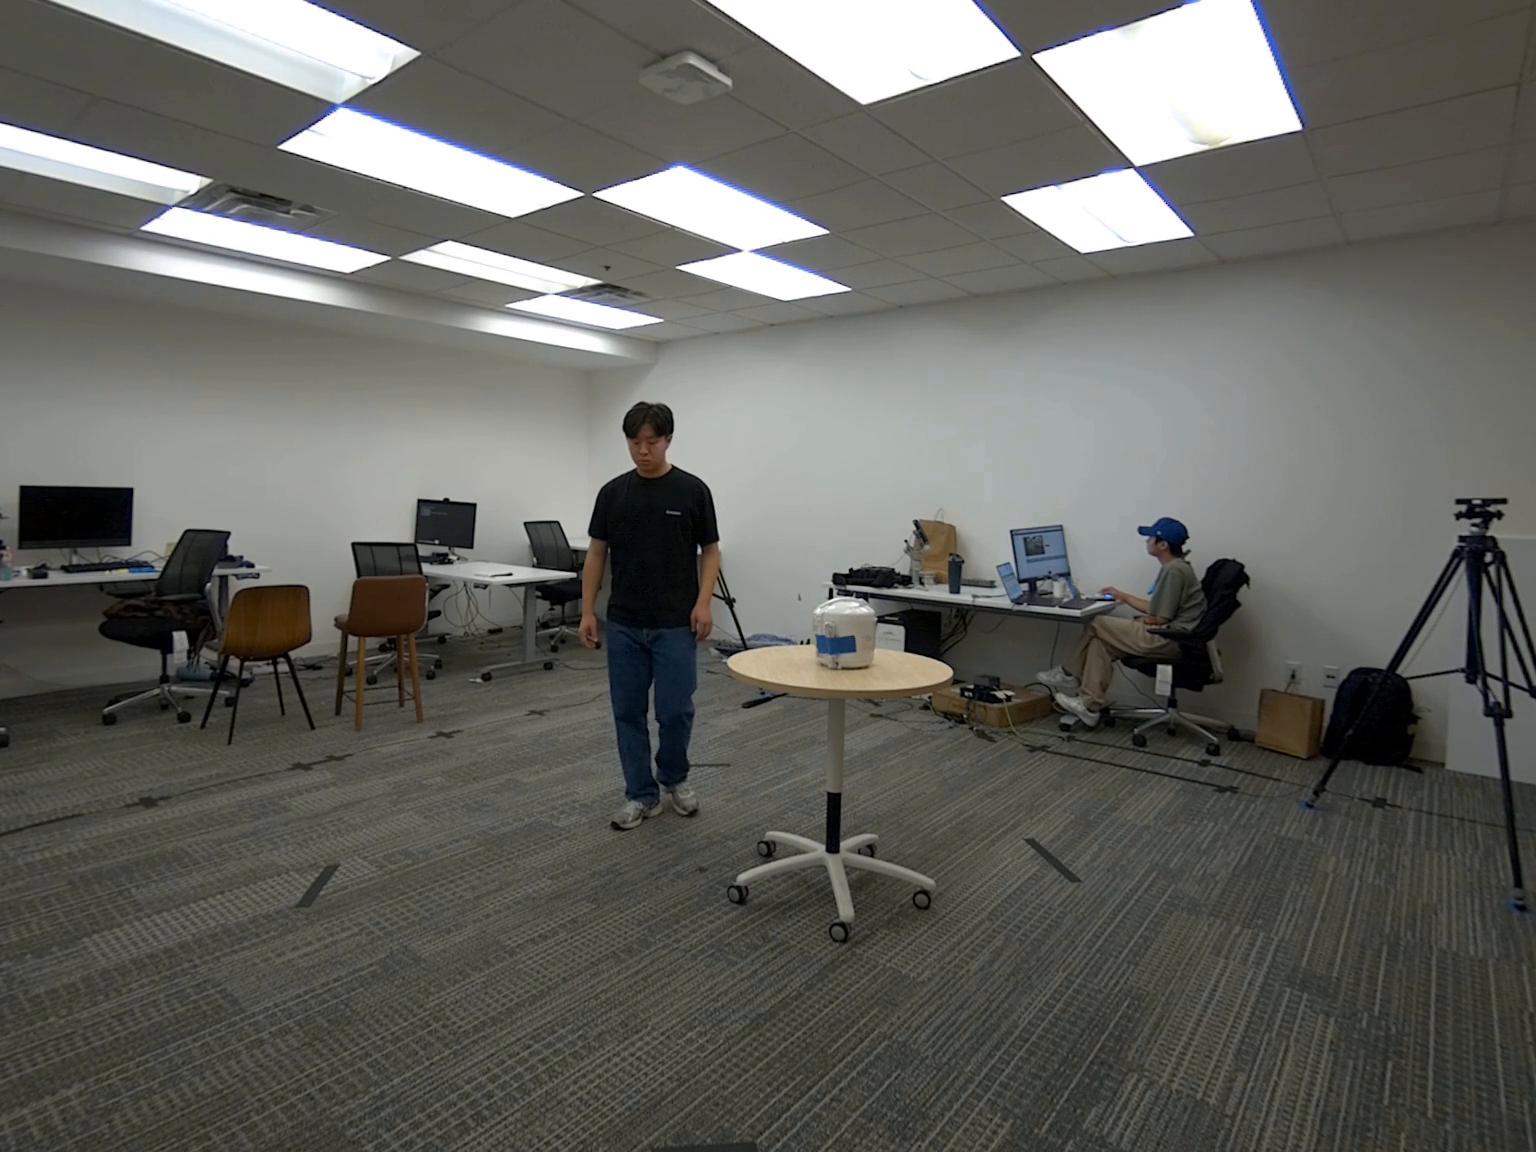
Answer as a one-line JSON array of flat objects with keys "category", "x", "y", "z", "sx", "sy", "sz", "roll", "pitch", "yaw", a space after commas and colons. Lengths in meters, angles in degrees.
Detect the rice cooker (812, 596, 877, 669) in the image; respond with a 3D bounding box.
[{"category": "rice cooker", "x": 0.257, "y": 0.187, "z": 2.934, "sx": 0.217, "sy": 0.232, "sz": 0.222, "roll": 1, "pitch": 4, "yaw": -17}]
